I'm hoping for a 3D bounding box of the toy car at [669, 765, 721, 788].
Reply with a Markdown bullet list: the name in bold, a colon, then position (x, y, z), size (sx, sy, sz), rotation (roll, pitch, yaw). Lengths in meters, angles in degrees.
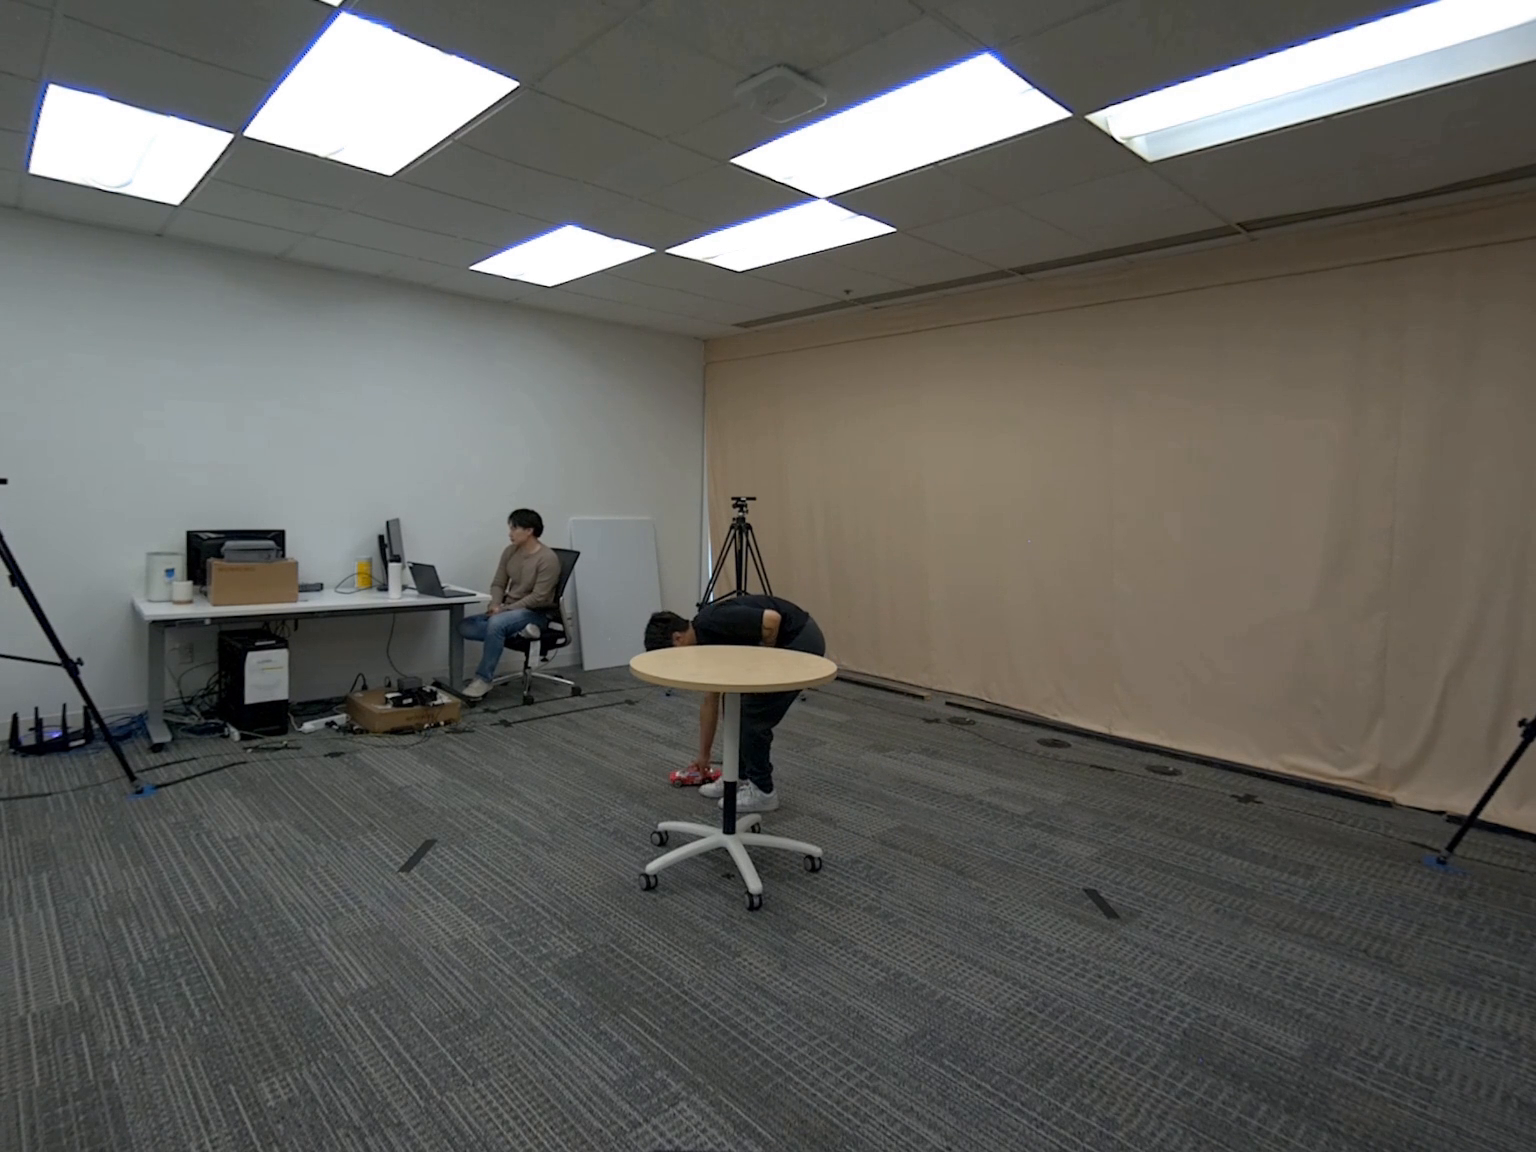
- **toy car**: position (-0.362, 0.984, 4.124), size (0.253, 0.083, 0.131), rotation (-10, 7, -8)
